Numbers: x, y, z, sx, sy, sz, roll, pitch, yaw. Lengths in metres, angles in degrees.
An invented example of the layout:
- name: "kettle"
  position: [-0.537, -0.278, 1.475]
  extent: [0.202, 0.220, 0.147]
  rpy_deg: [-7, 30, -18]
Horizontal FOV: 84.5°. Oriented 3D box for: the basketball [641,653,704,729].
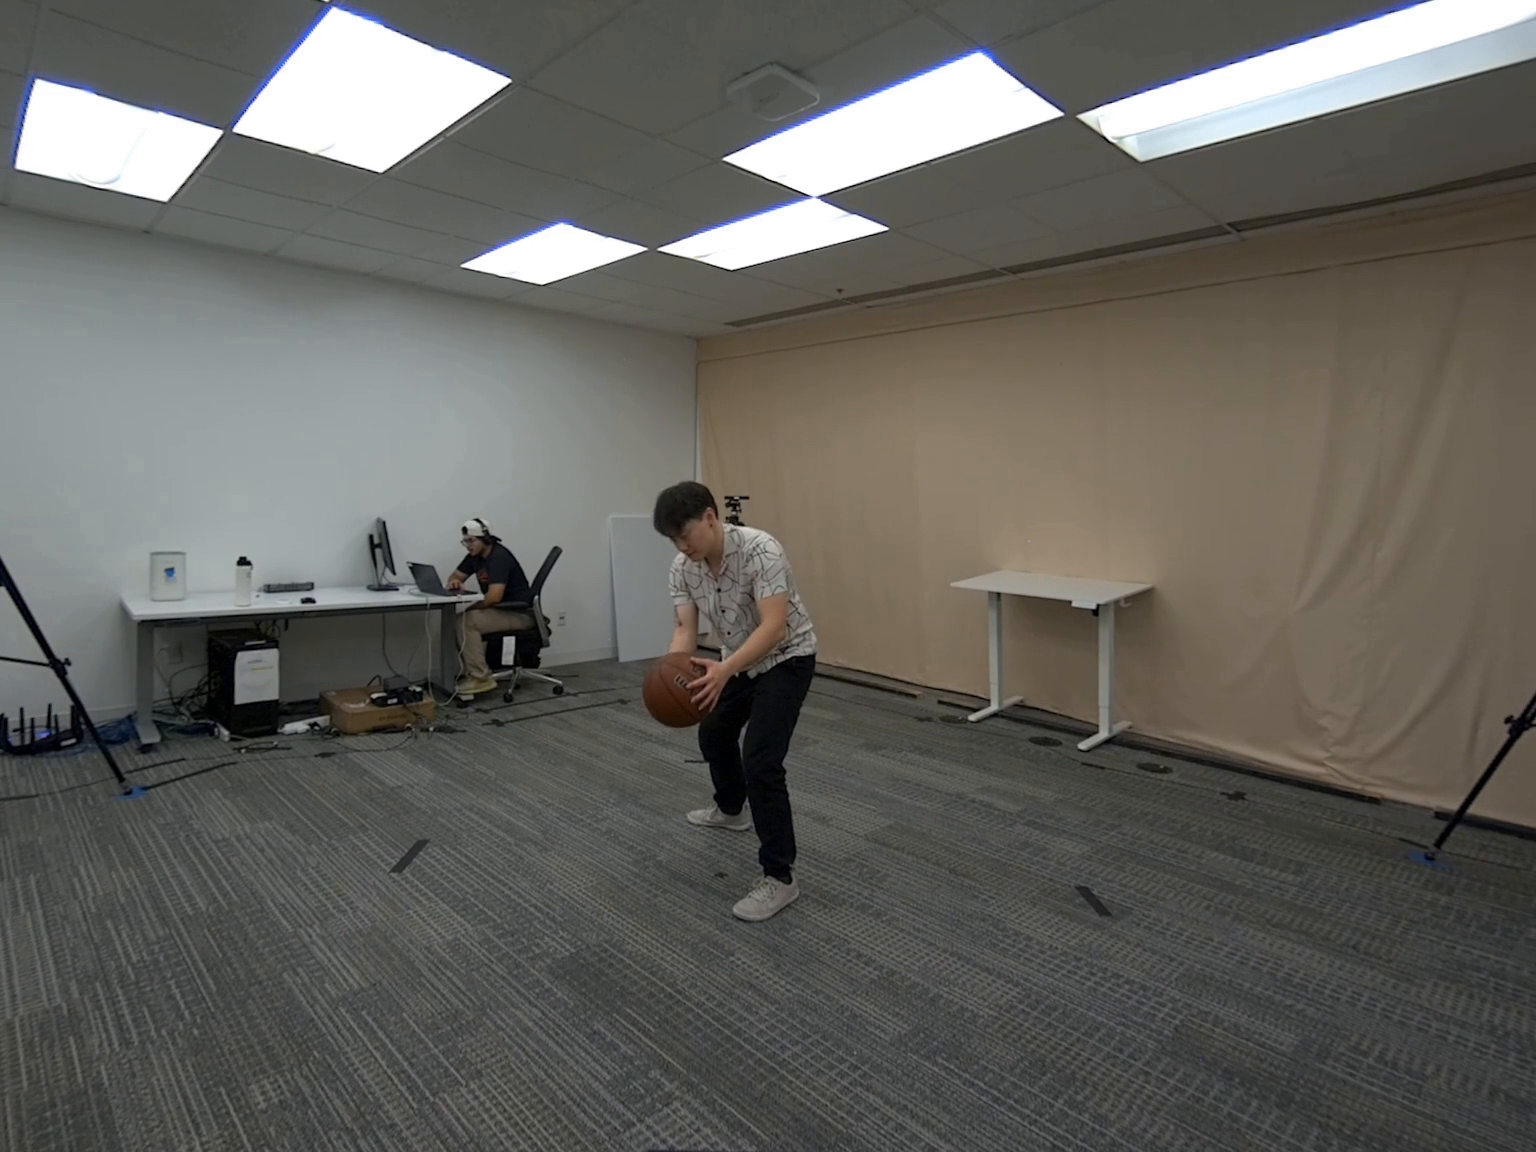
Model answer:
- name: "basketball"
  position: [-0.286, 0.358, 2.669]
  extent: [0.236, 0.235, 0.237]
  rpy_deg: [1, 4, -1]
